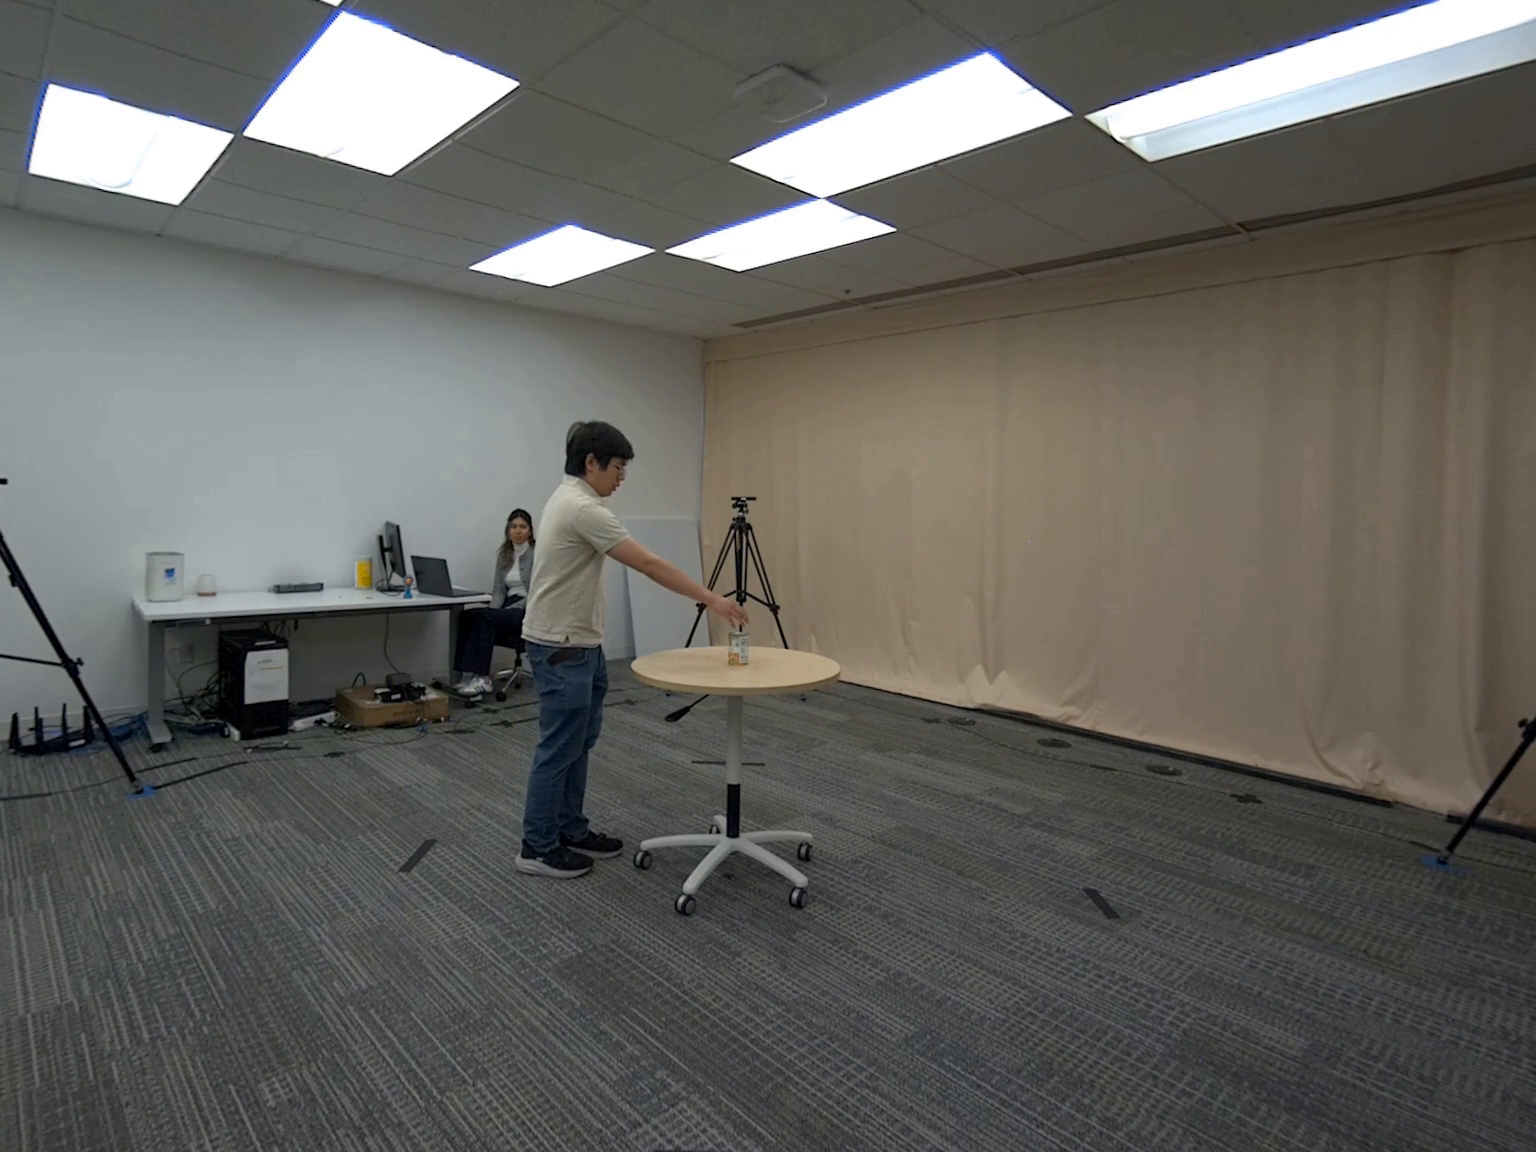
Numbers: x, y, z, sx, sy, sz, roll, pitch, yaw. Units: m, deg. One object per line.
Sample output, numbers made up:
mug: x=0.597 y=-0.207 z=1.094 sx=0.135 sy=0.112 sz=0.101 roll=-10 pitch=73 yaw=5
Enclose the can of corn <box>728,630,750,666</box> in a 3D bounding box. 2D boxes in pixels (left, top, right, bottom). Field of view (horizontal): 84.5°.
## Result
can of corn: x=-0.118 y=0.267 z=3.102 sx=0.074 sy=0.111 sz=0.074 roll=-1 pitch=4 yaw=-1
